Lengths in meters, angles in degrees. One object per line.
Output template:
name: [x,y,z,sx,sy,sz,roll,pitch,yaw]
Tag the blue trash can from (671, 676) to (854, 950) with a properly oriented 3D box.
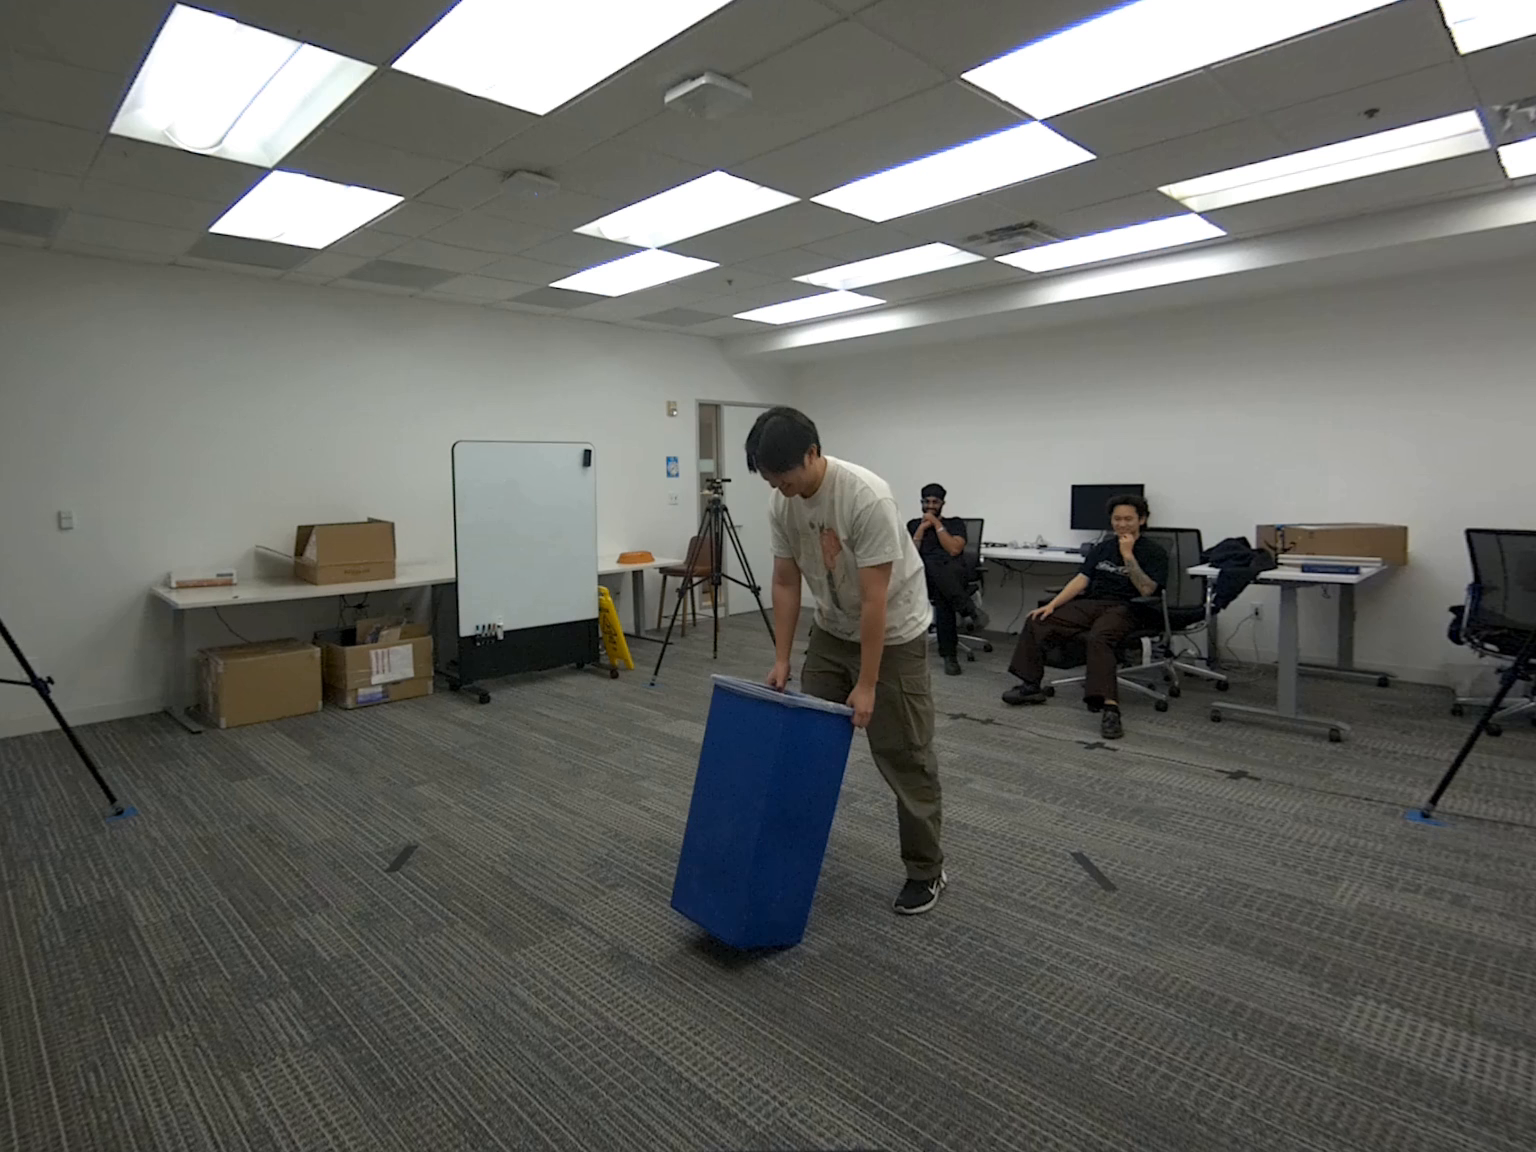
blue trash can: [-0.023,0.709,2.627,0.390,0.717,0.360,5,-11,46]
